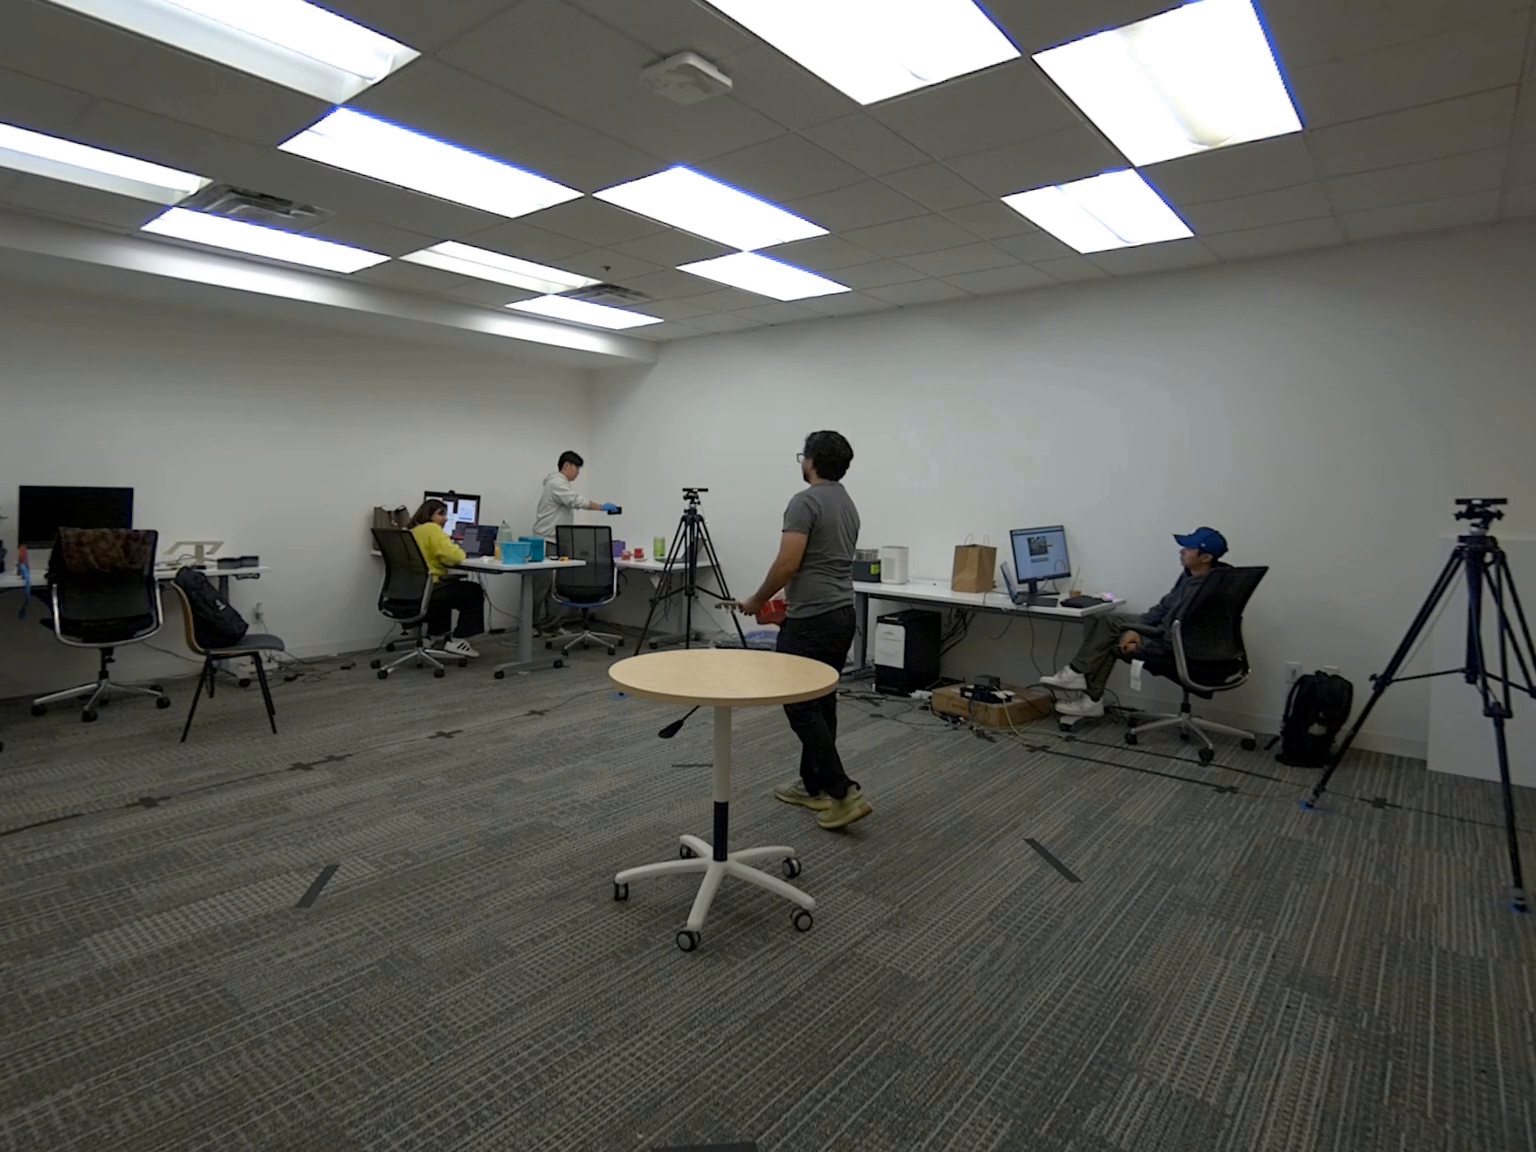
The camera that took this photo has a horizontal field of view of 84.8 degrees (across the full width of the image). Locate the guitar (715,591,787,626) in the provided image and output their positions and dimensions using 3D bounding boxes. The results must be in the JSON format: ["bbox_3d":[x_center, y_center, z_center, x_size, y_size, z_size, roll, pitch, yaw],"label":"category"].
[{"bbox_3d":[-0.050,0.170,3.818,0.485,0.073,0.192,-3,-28,-30],"label":"guitar"}]
